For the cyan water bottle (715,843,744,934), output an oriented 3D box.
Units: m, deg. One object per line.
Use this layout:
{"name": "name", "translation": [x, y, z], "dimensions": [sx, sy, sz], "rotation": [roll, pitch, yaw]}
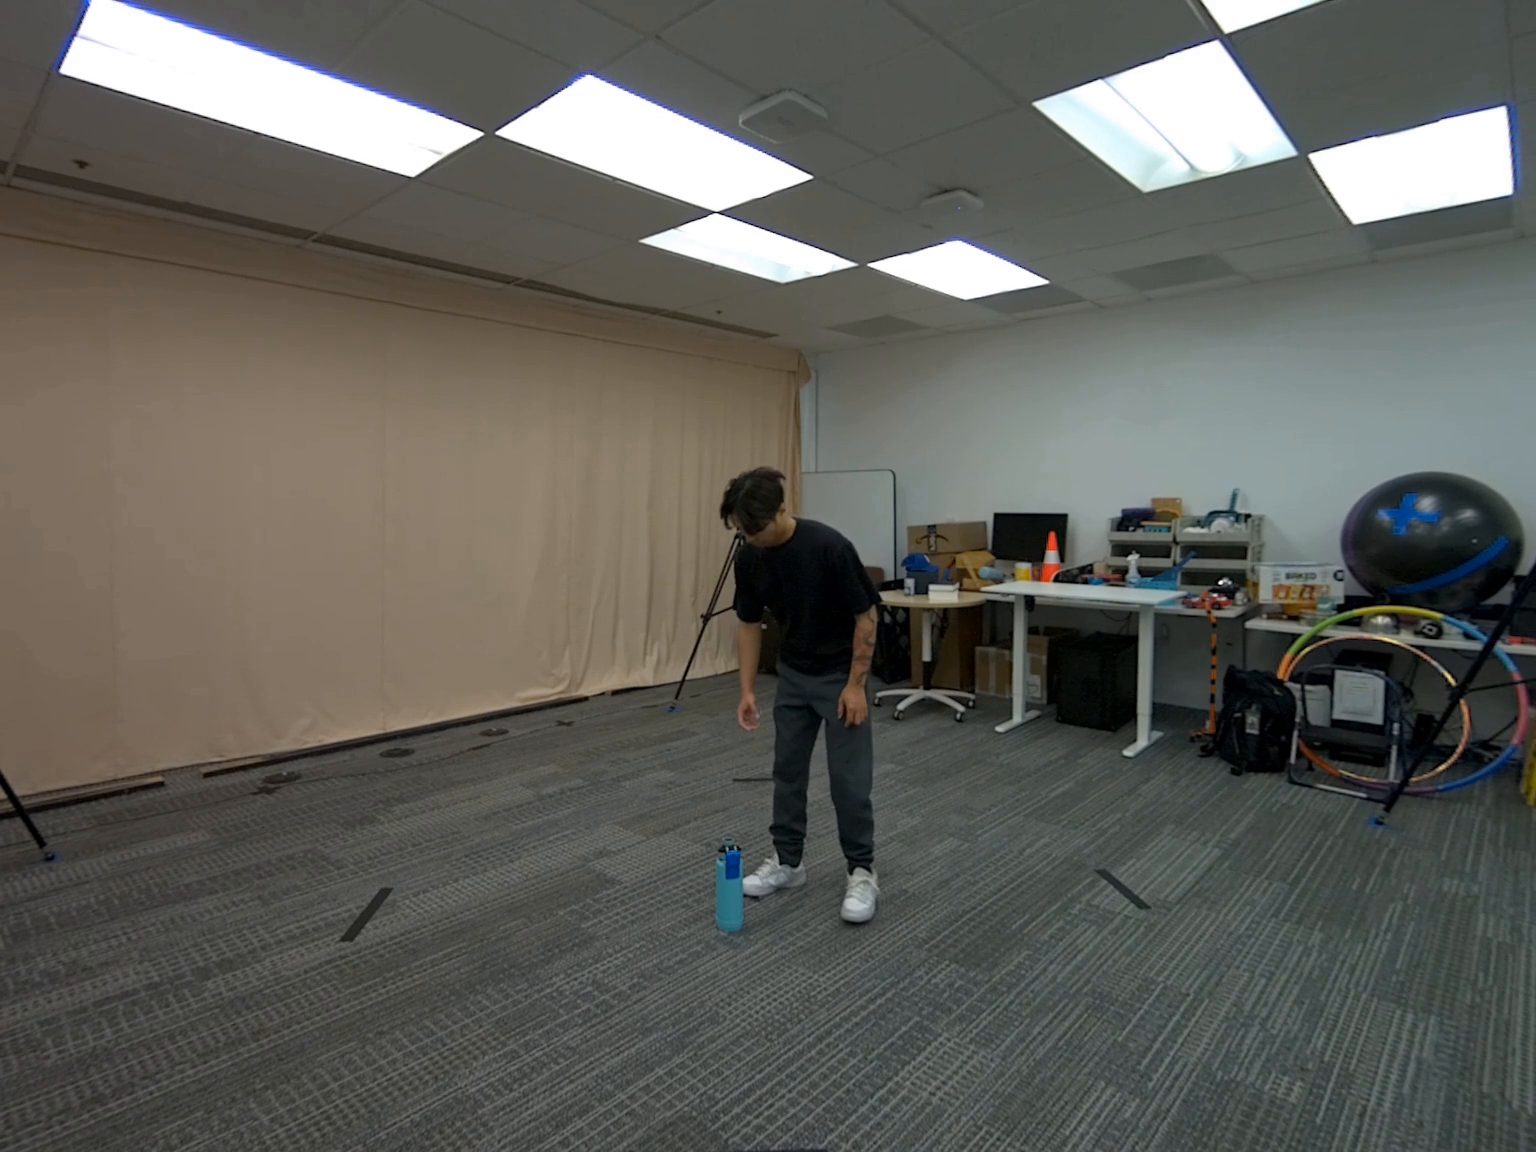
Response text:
{"name": "cyan water bottle", "translation": [-0.128, 1.024, 2.780], "dimensions": [0.092, 0.283, 0.092], "rotation": [-2, 4, -2]}
